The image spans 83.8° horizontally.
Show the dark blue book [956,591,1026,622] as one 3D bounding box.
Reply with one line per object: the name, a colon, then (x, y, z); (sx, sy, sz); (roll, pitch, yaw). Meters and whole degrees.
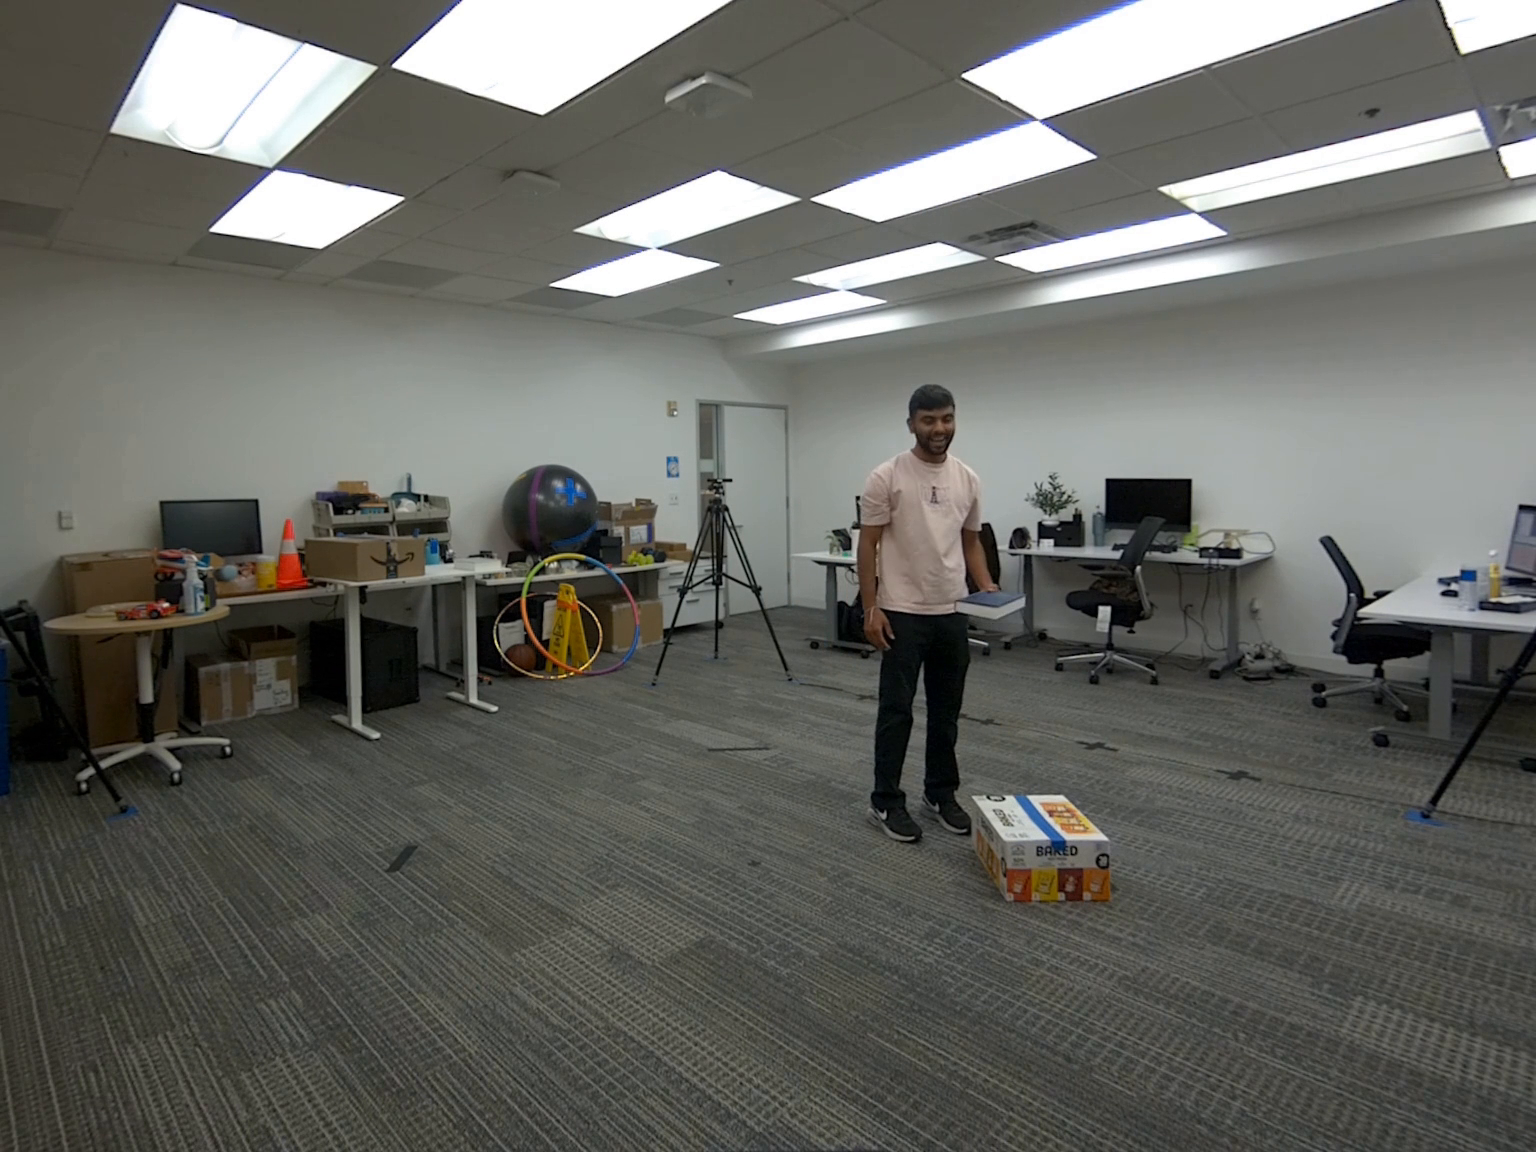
dark blue book: (0.816, 0.104, 3.102); (0.169, 0.045, 0.239); (9, 14, 41)
